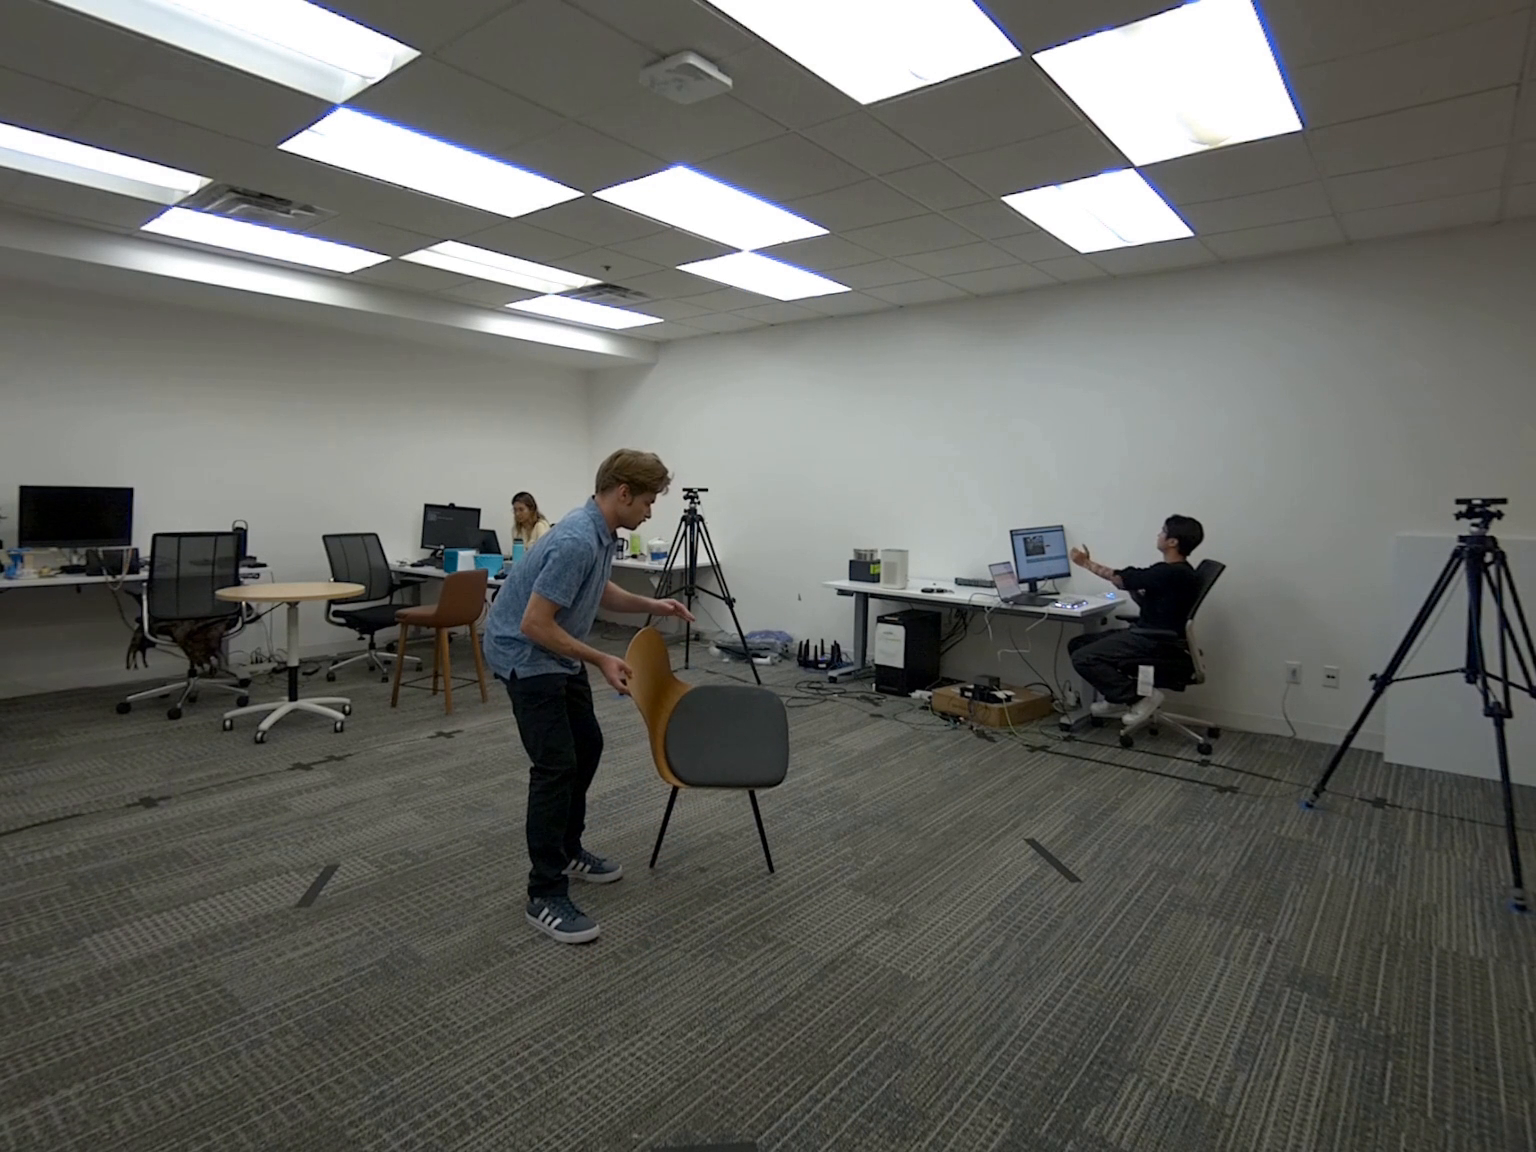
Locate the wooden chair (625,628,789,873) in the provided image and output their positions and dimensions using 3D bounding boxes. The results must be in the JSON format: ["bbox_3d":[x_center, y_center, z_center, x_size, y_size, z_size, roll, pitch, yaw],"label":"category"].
[{"bbox_3d":[-0.200,0.604,3.040,0.526,0.852,0.490,-2,35,4],"label":"wooden chair"}]
